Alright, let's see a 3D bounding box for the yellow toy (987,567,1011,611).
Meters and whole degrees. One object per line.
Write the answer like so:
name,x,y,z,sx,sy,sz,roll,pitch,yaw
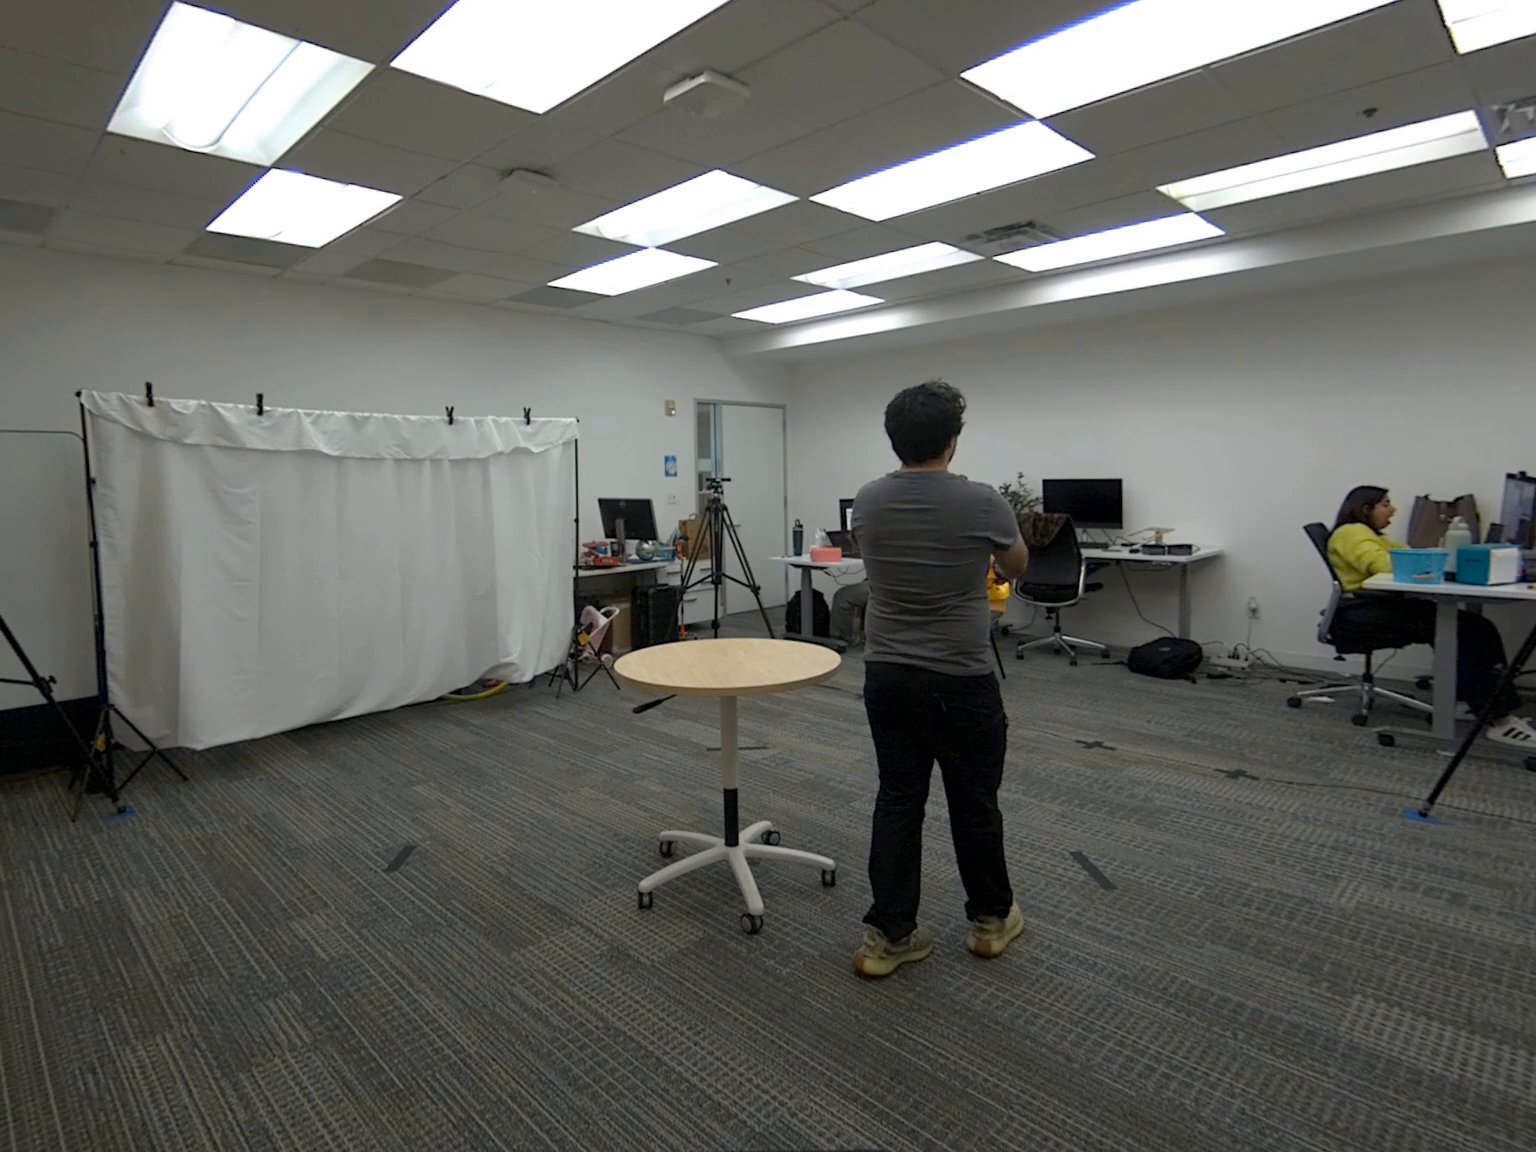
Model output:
yellow toy,0.734,-0.049,2.937,0.210,0.229,0.189,3,9,30
